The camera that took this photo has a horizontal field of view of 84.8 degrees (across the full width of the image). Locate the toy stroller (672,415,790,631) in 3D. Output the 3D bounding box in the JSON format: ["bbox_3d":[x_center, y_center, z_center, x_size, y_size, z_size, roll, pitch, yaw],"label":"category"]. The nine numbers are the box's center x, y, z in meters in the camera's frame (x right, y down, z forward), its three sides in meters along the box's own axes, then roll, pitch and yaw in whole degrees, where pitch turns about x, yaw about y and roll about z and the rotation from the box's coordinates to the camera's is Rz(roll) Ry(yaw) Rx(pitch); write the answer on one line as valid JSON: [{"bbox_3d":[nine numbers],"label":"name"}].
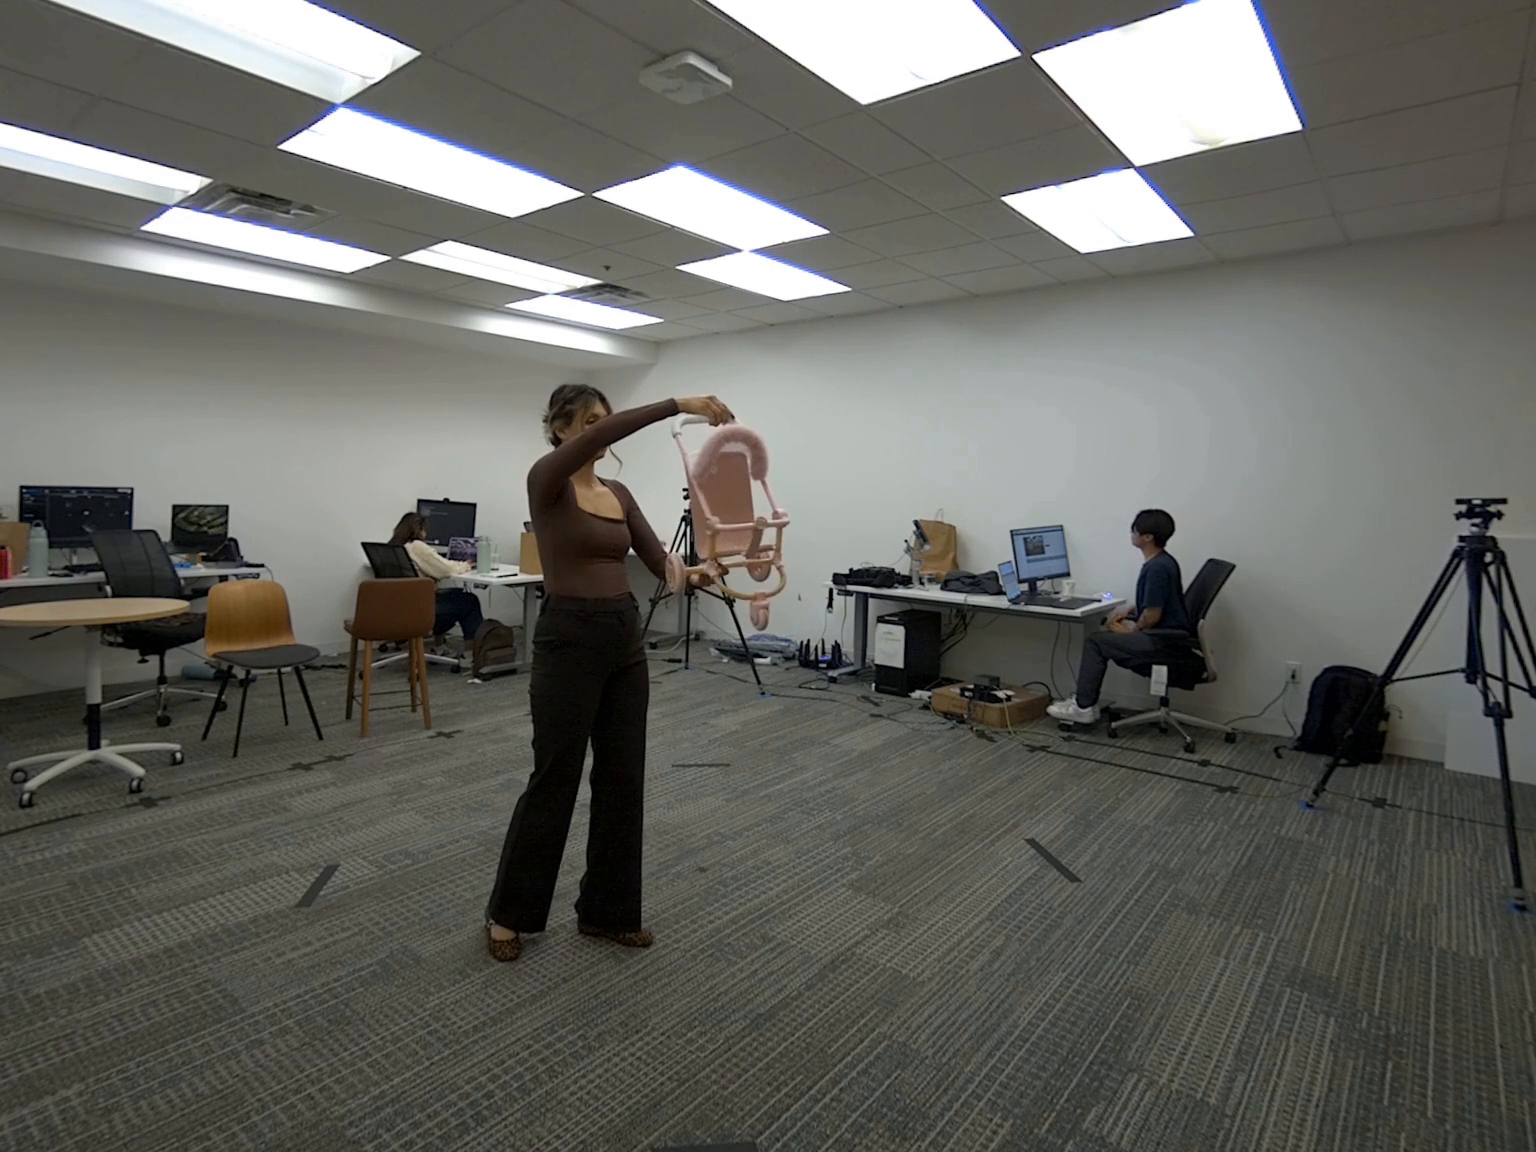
[{"bbox_3d":[-0.105,-0.150,2.170,0.276,0.530,0.351,-5,9,-23],"label":"toy stroller"}]
